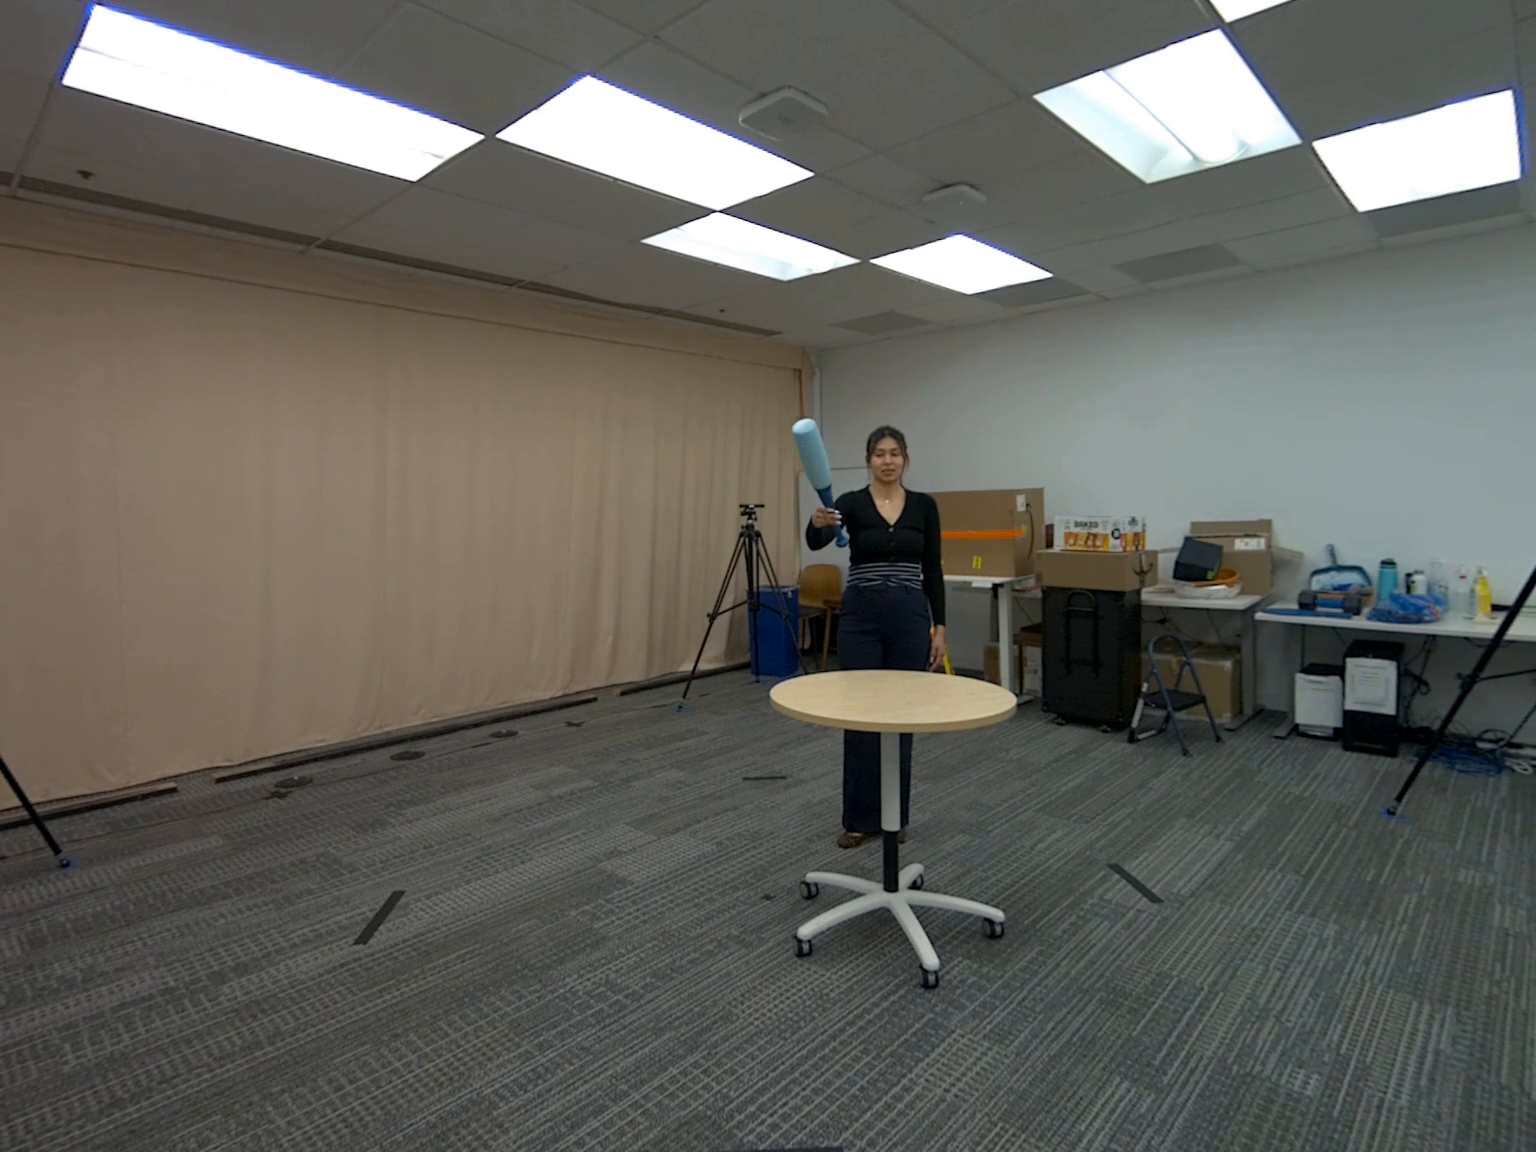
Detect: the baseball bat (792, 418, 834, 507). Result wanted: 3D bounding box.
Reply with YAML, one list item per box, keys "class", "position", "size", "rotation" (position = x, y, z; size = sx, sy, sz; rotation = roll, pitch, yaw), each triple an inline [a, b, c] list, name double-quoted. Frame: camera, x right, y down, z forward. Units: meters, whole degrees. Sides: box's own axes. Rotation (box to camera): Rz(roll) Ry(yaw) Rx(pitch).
- class: "baseball bat"
  position: [0.197, -0.309, 2.947]
  size: [0.090, 0.527, 0.091]
  rotation: [-14, 38, 10]
